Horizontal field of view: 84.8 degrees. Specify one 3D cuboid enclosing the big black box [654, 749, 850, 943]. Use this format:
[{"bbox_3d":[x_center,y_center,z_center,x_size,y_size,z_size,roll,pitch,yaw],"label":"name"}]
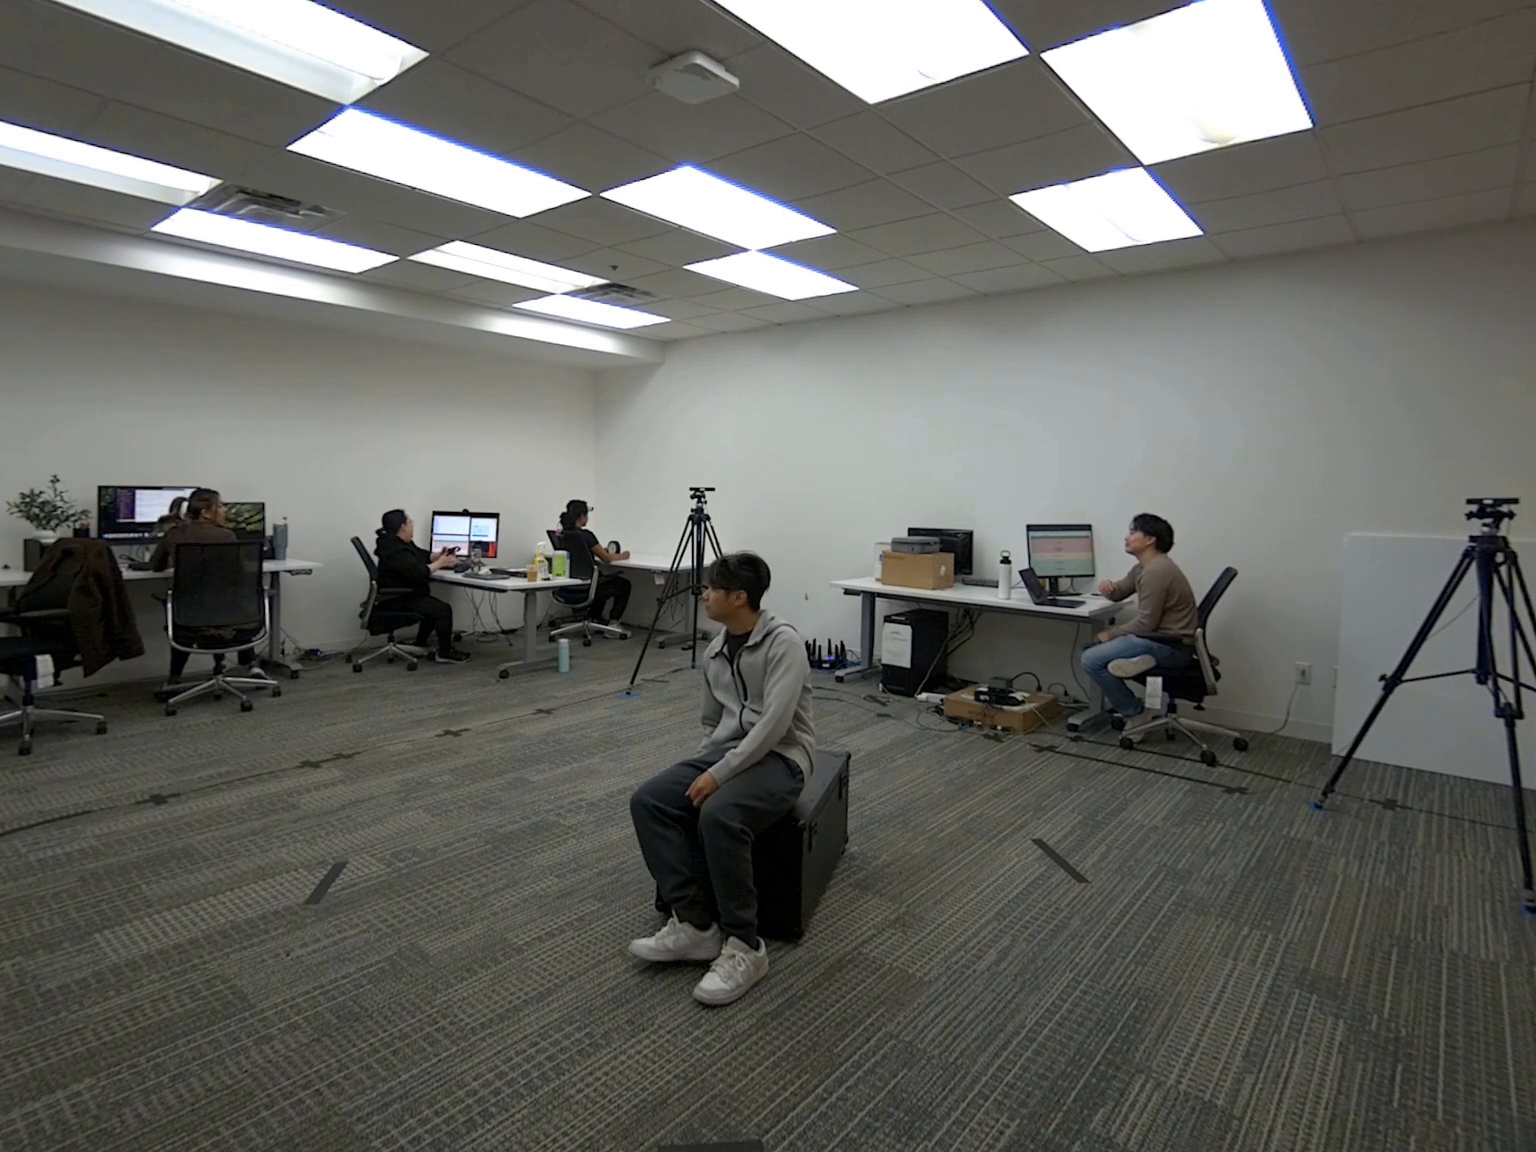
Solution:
[{"bbox_3d":[-0.040,0.891,2.994,0.531,0.395,0.847,2,4,17],"label":"big black box"}]
